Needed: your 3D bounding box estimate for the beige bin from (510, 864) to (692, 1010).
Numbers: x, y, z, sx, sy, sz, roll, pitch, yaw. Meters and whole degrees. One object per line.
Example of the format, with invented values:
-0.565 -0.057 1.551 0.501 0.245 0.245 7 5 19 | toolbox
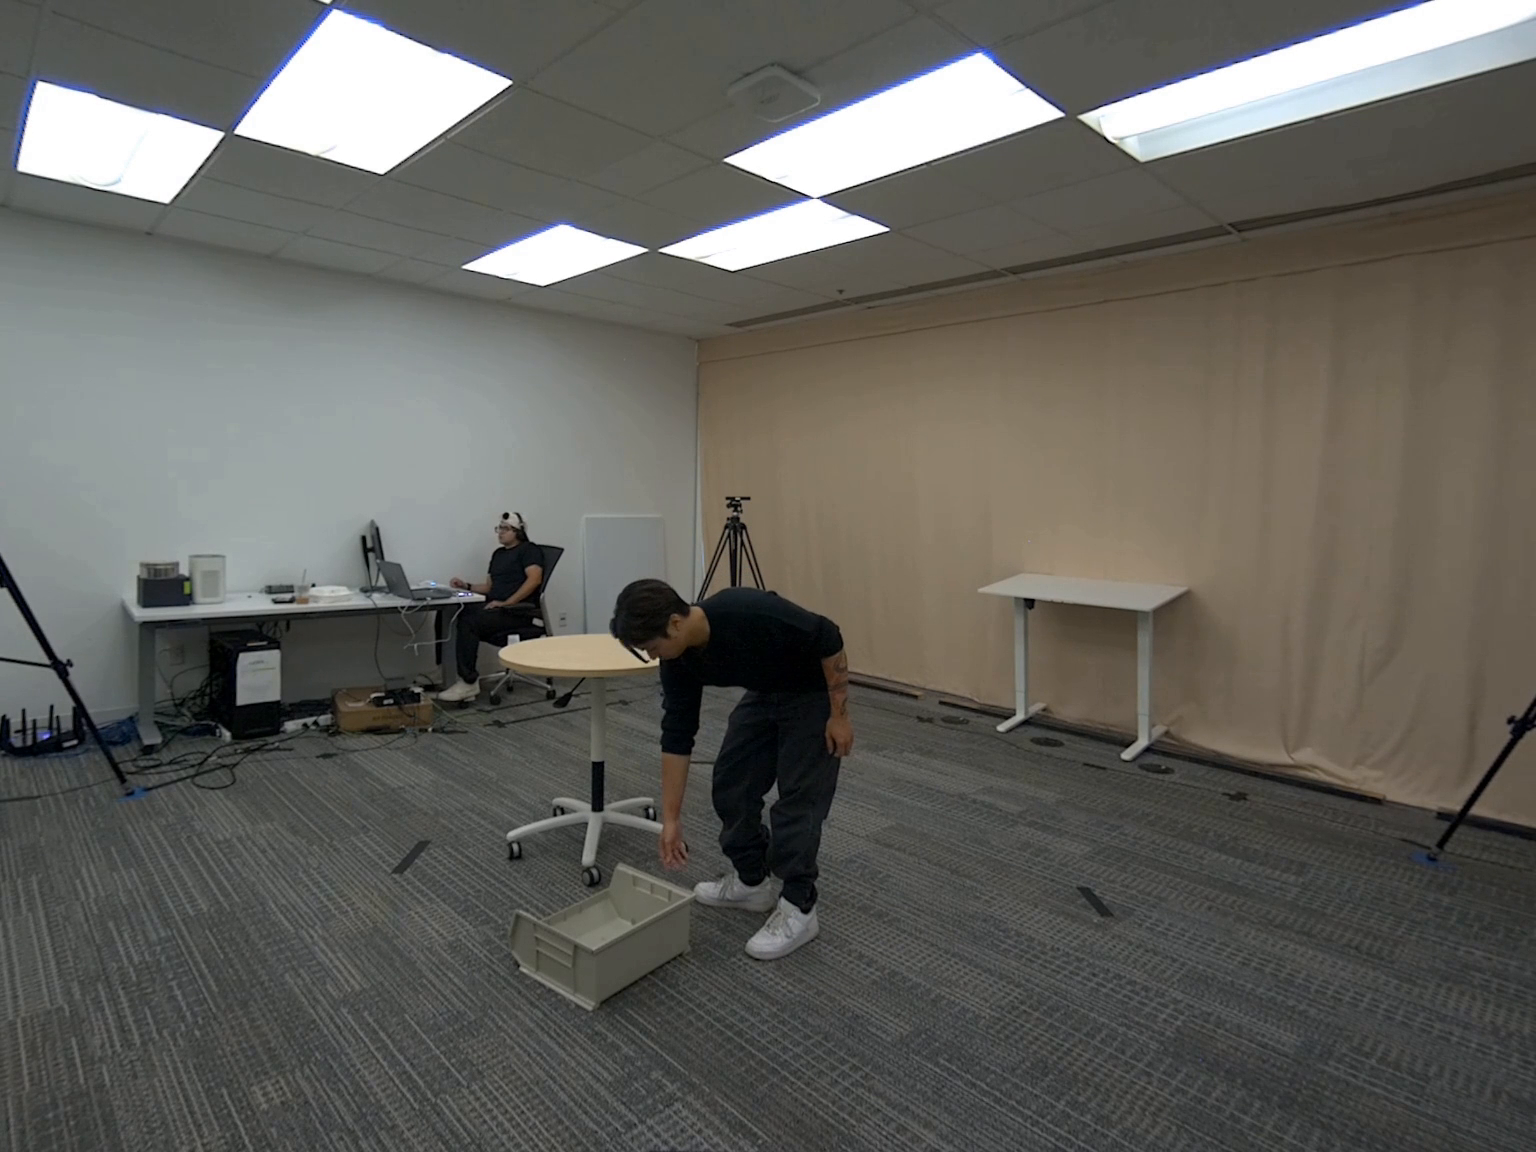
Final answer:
-0.499 1.065 2.525 0.387 0.188 0.413 5 6 37 | beige bin
